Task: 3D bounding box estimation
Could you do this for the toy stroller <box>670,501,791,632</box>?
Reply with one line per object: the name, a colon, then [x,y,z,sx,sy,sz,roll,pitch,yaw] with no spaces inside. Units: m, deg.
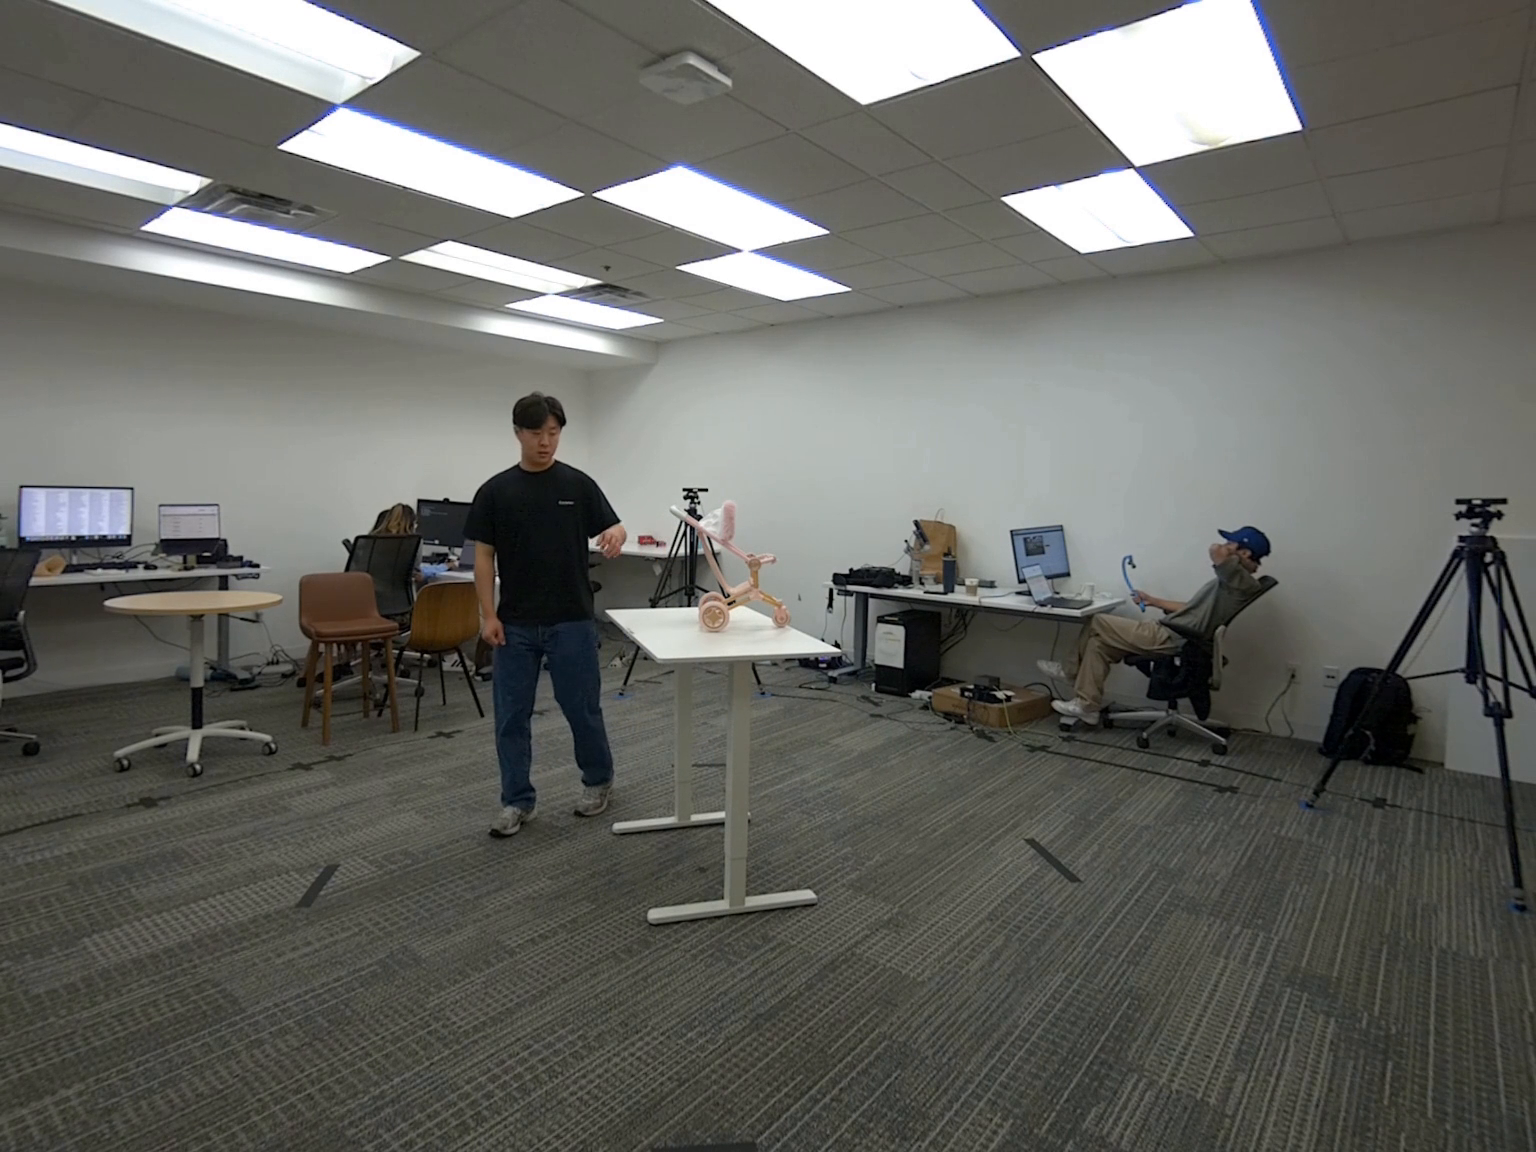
toy stroller: [-0.138,-0.038,3.122,0.342,0.533,0.281,-14,3,4]
